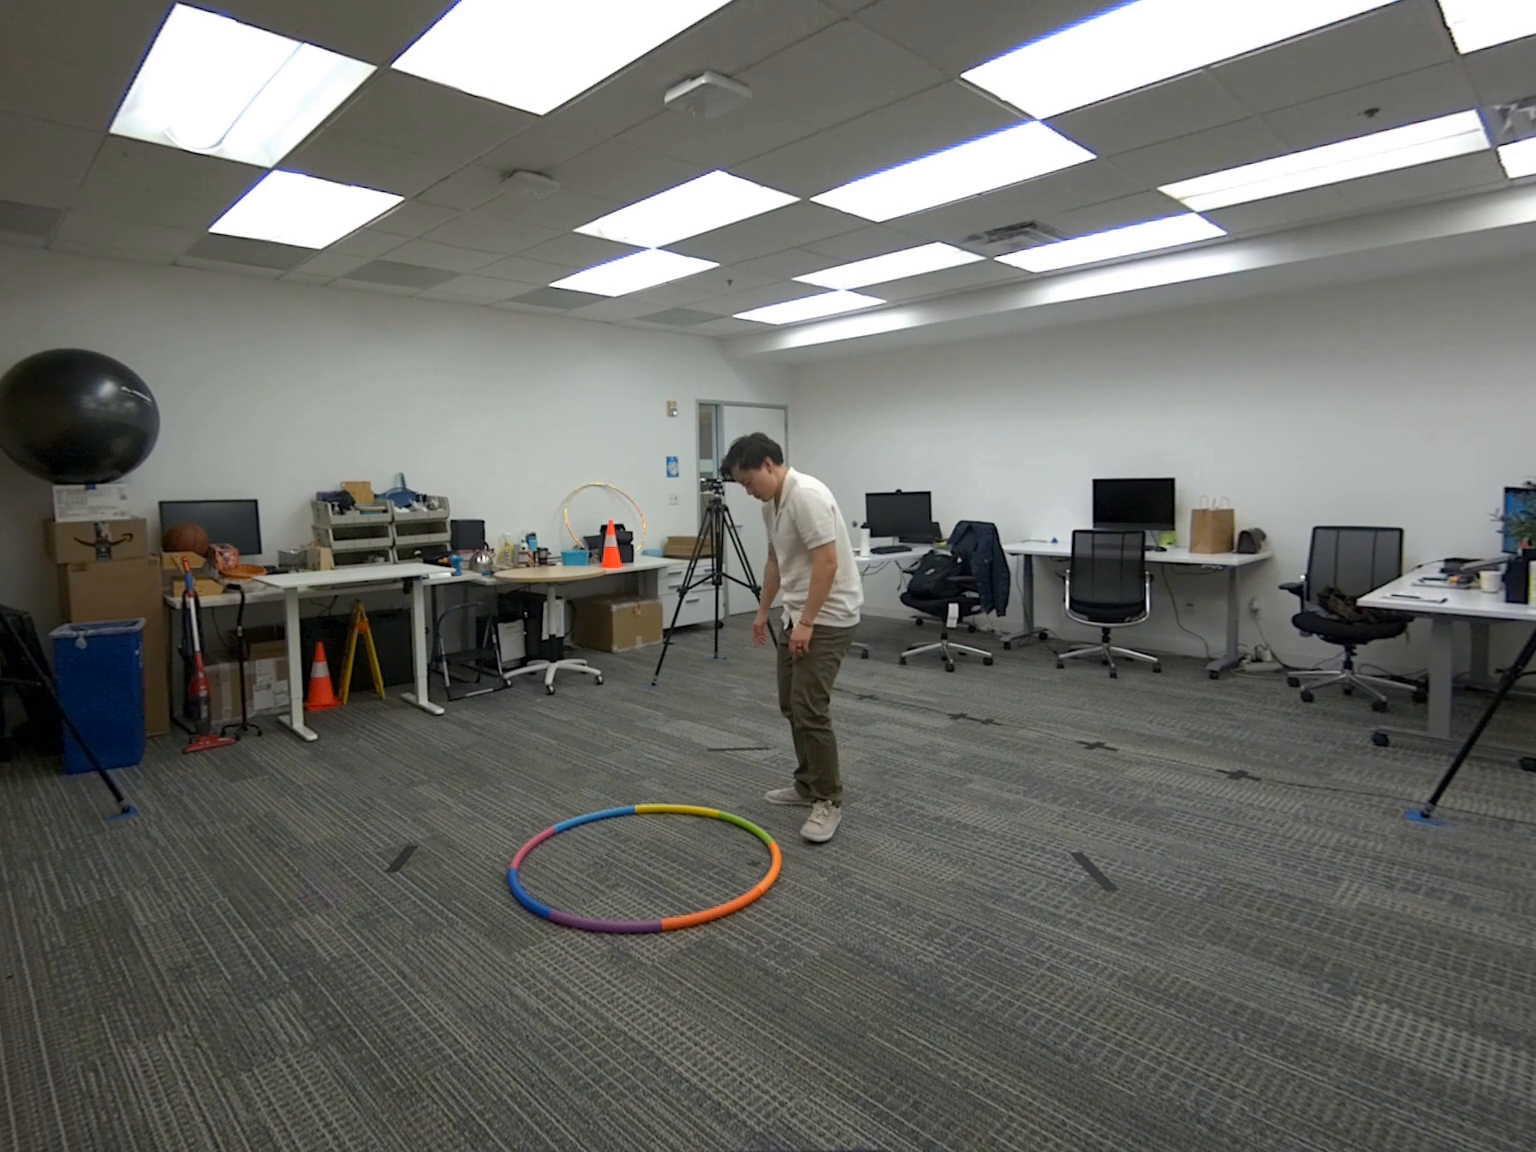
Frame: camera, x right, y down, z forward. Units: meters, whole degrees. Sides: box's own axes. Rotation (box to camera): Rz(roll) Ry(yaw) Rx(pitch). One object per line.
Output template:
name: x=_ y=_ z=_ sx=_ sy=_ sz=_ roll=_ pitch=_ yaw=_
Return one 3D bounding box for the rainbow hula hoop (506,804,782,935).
rainbow hula hoop: x=-0.441 y=1.020 z=3.126 sx=0.978 sy=0.035 sz=0.984 roll=-1 pitch=7 yaw=-2
